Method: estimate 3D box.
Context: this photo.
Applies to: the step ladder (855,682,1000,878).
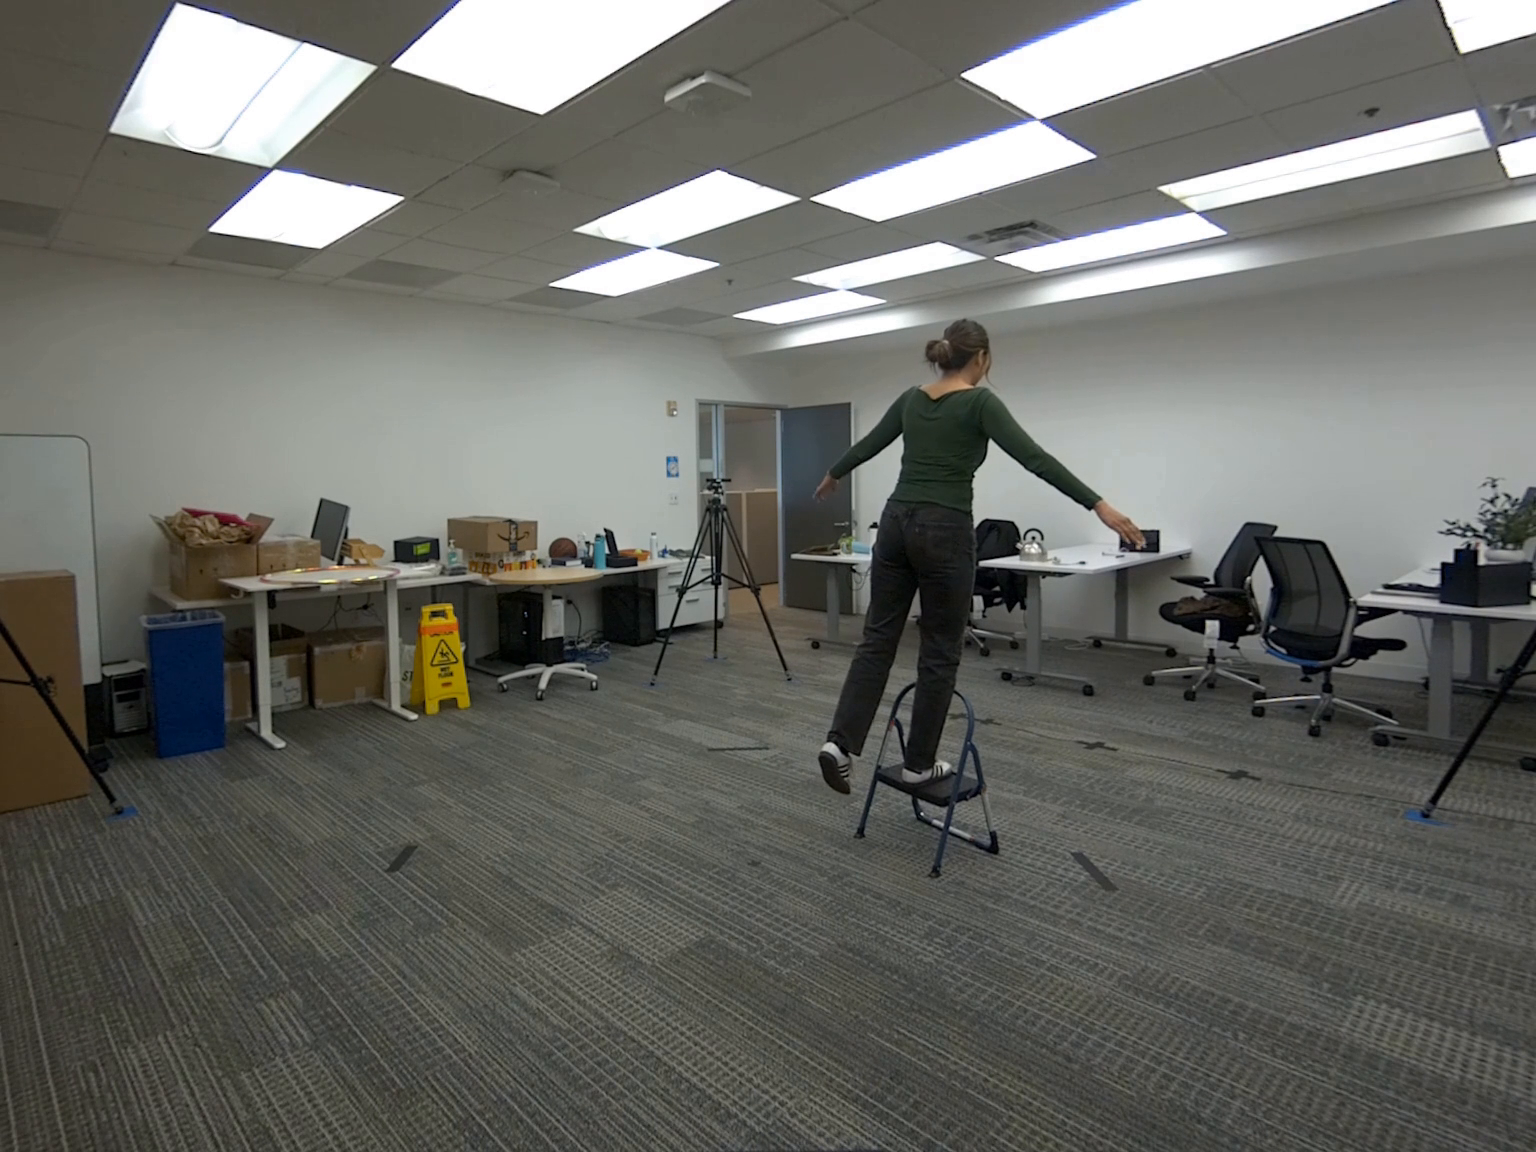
[{"bbox_3d":[0.593,0.718,3.218,0.340,0.604,0.443,-4,5,-34],"label":"step ladder"}]
